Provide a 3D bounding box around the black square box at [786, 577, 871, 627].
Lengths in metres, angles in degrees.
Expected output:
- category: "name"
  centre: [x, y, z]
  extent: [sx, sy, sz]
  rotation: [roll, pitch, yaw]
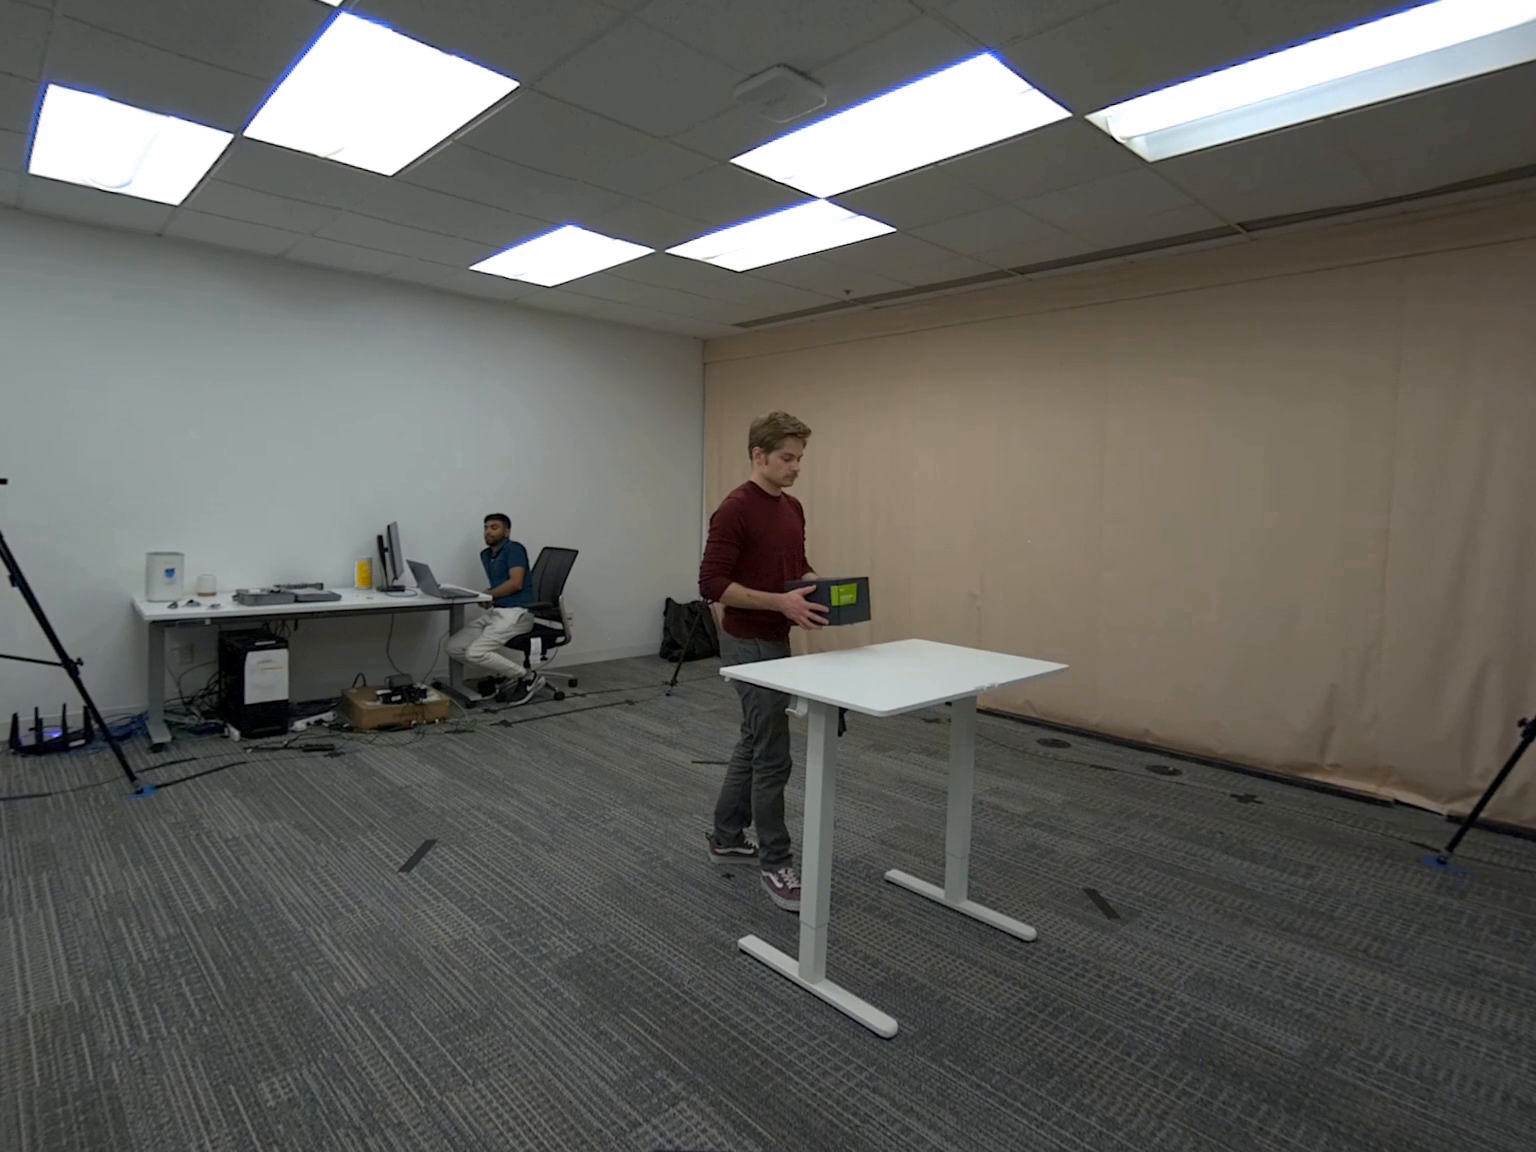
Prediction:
- category: "black square box"
  centre: [0.199, 0.083, 2.946]
  extent: [0.221, 0.156, 0.223]
  rotation: [-2, 1, 34]
